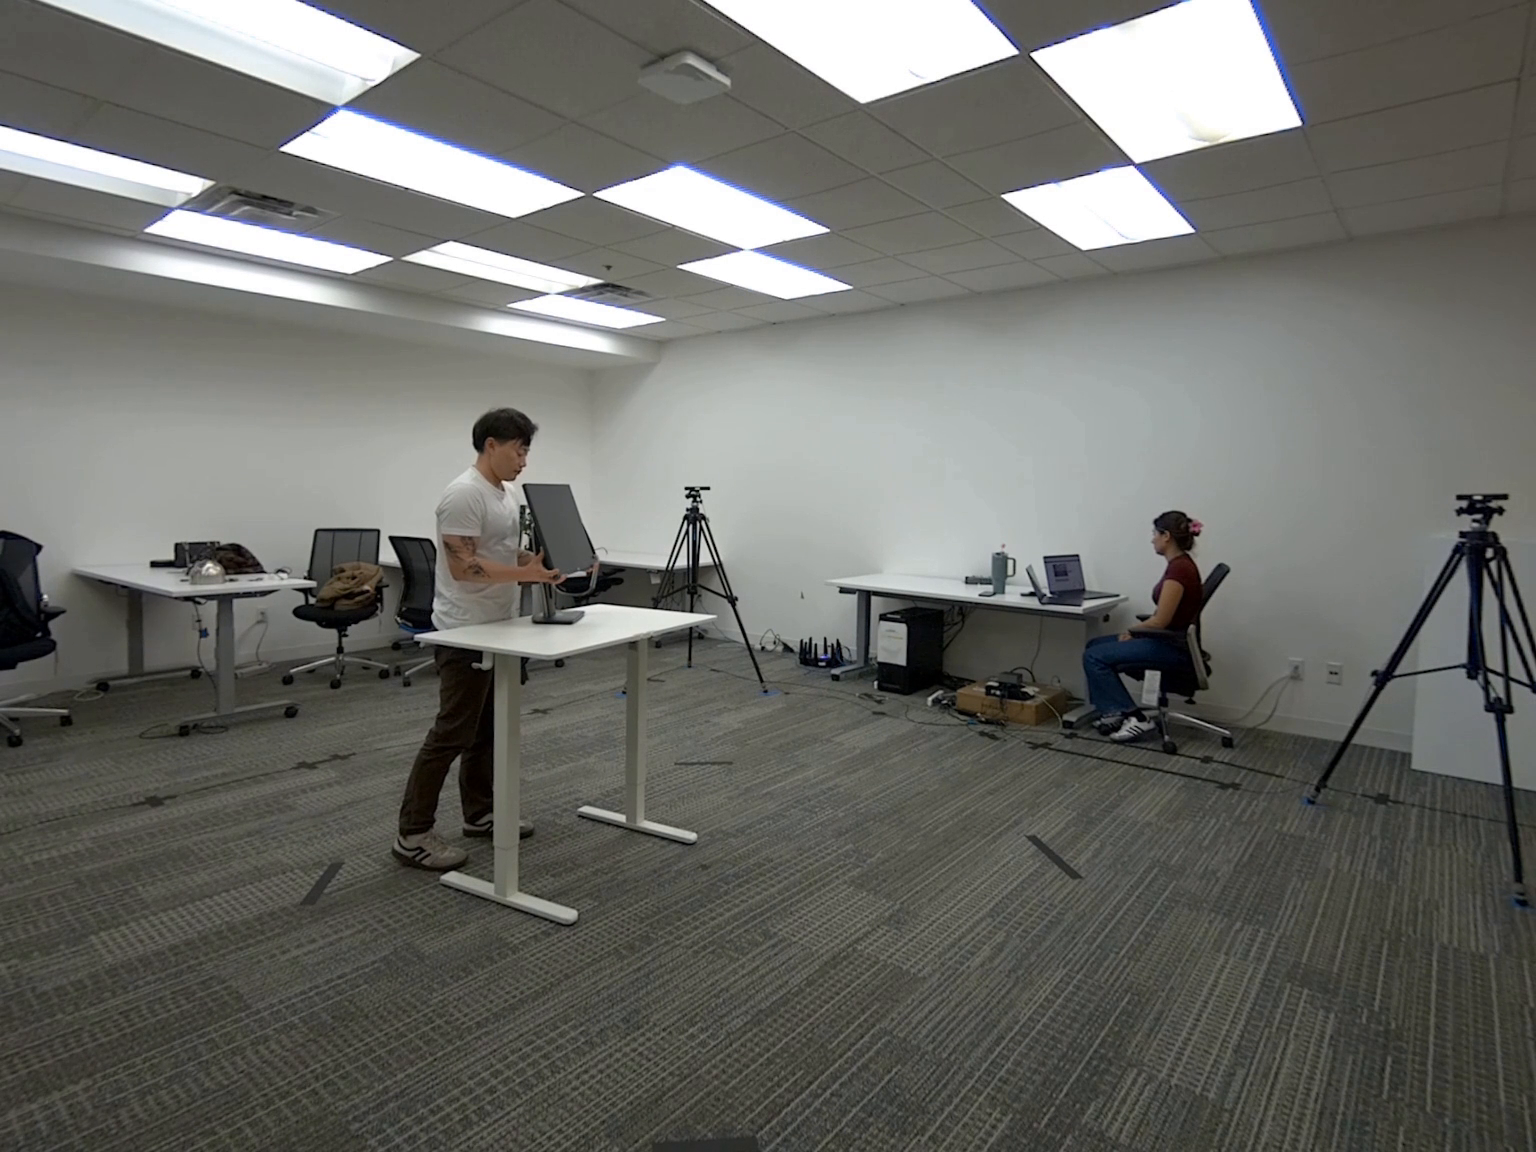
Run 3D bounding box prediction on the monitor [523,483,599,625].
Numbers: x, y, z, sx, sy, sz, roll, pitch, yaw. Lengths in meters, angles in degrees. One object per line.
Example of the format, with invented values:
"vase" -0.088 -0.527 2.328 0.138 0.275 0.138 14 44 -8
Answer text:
"monitor" -0.835 -0.091 3.235 0.188 0.521 0.539 -2 4 3
